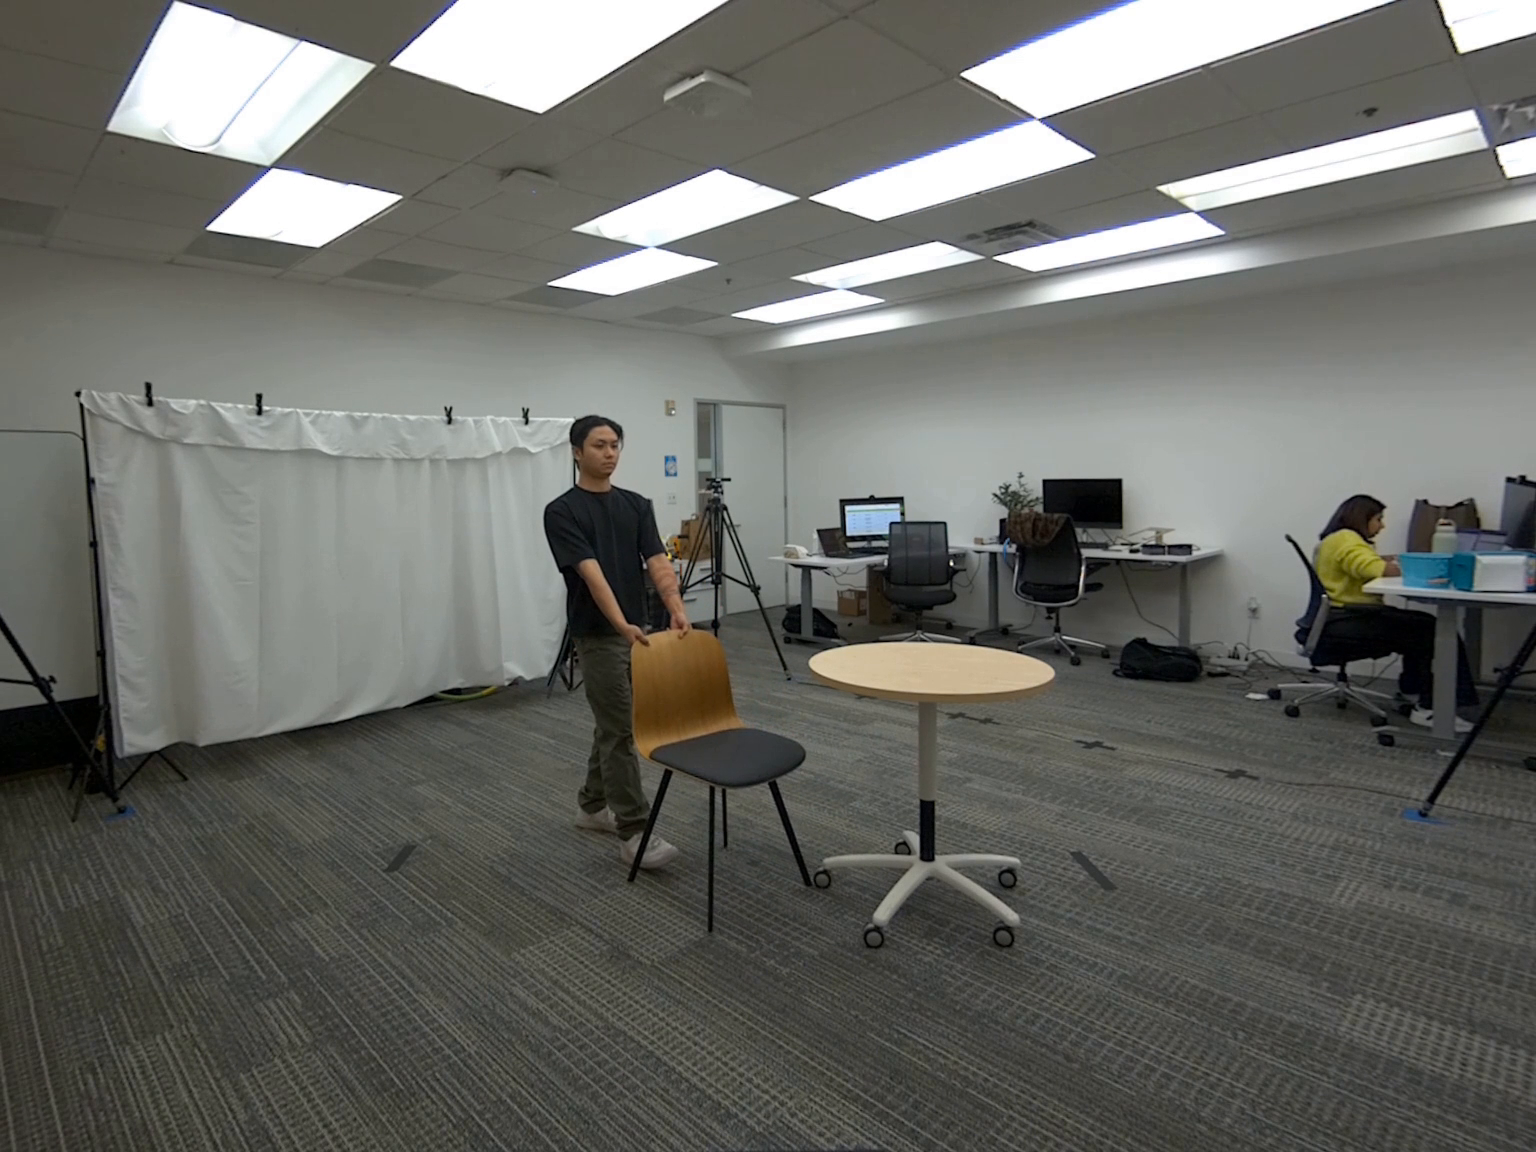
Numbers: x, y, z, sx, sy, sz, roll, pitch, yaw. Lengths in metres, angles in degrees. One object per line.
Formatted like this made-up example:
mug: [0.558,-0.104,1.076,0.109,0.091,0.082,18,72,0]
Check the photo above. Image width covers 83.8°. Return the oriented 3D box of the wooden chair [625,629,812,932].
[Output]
wooden chair: [-0.166,0.637,2.904,0.465,0.877,0.537,-4,1,-42]
